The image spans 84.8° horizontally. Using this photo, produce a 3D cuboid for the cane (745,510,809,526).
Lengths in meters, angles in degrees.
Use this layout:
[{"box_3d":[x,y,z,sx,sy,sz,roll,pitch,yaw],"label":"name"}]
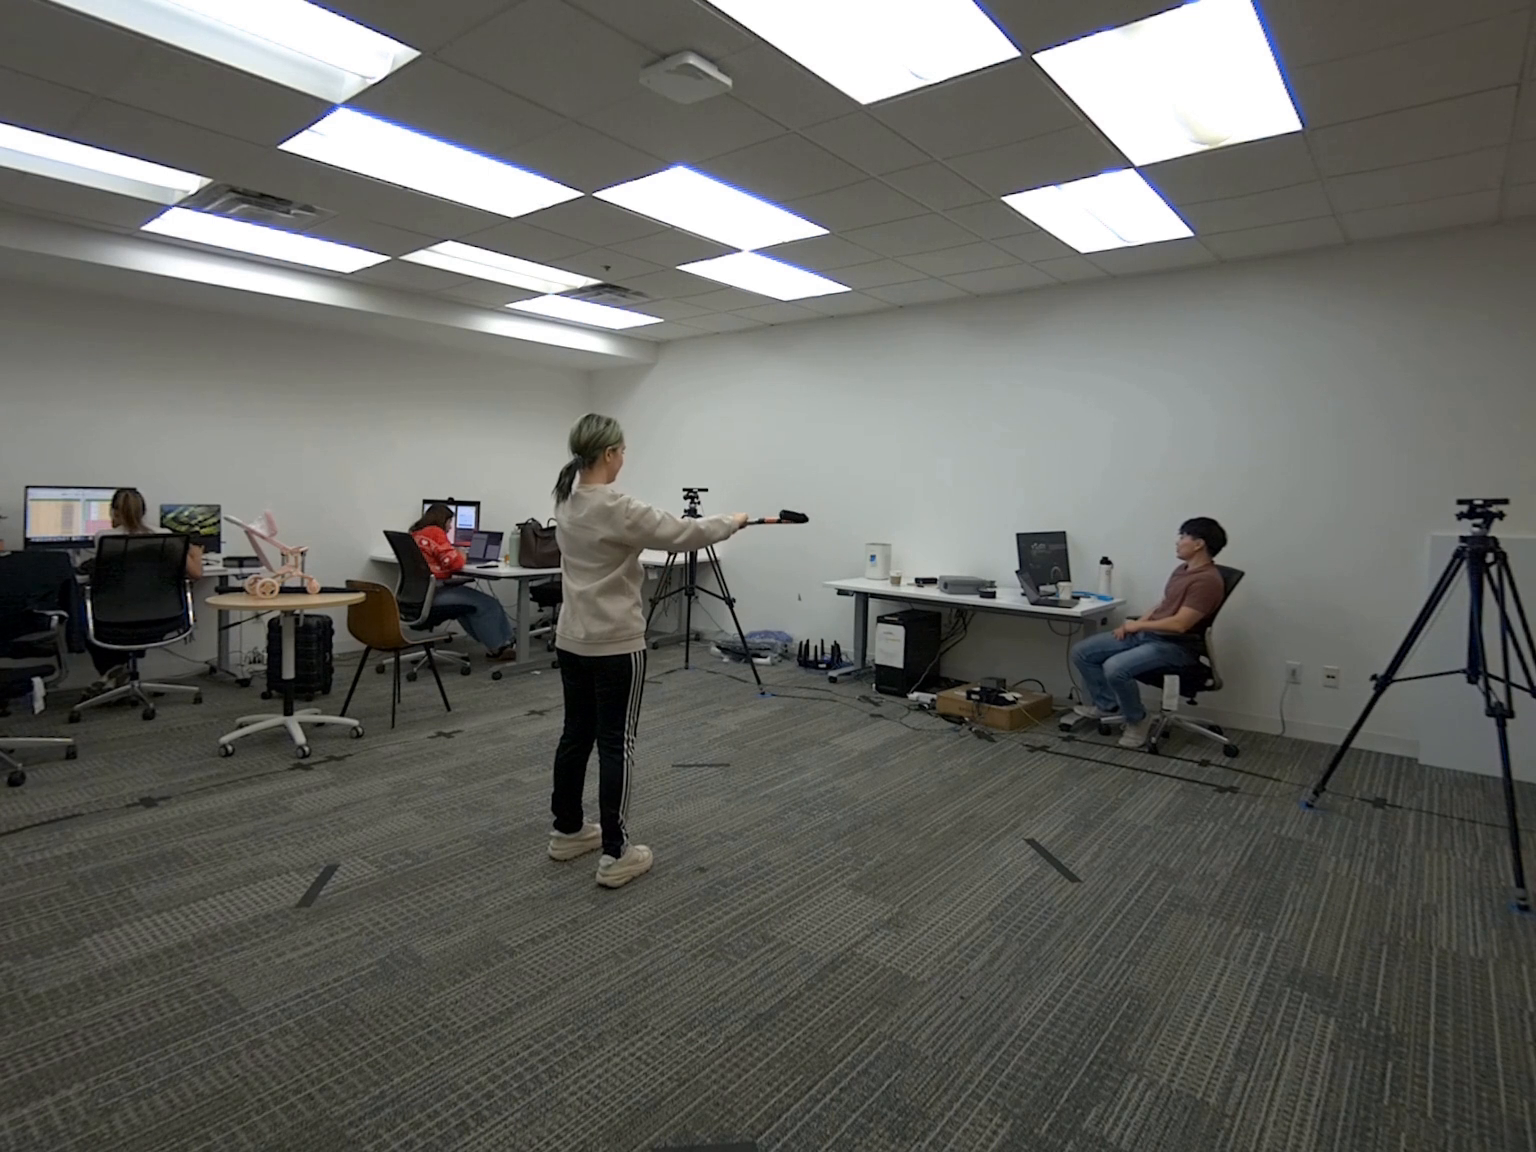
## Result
[{"box_3d":[-0.191,-0.182,3.404,0.199,0.152,0.935,8,-6,-40],"label":"cane"}]
